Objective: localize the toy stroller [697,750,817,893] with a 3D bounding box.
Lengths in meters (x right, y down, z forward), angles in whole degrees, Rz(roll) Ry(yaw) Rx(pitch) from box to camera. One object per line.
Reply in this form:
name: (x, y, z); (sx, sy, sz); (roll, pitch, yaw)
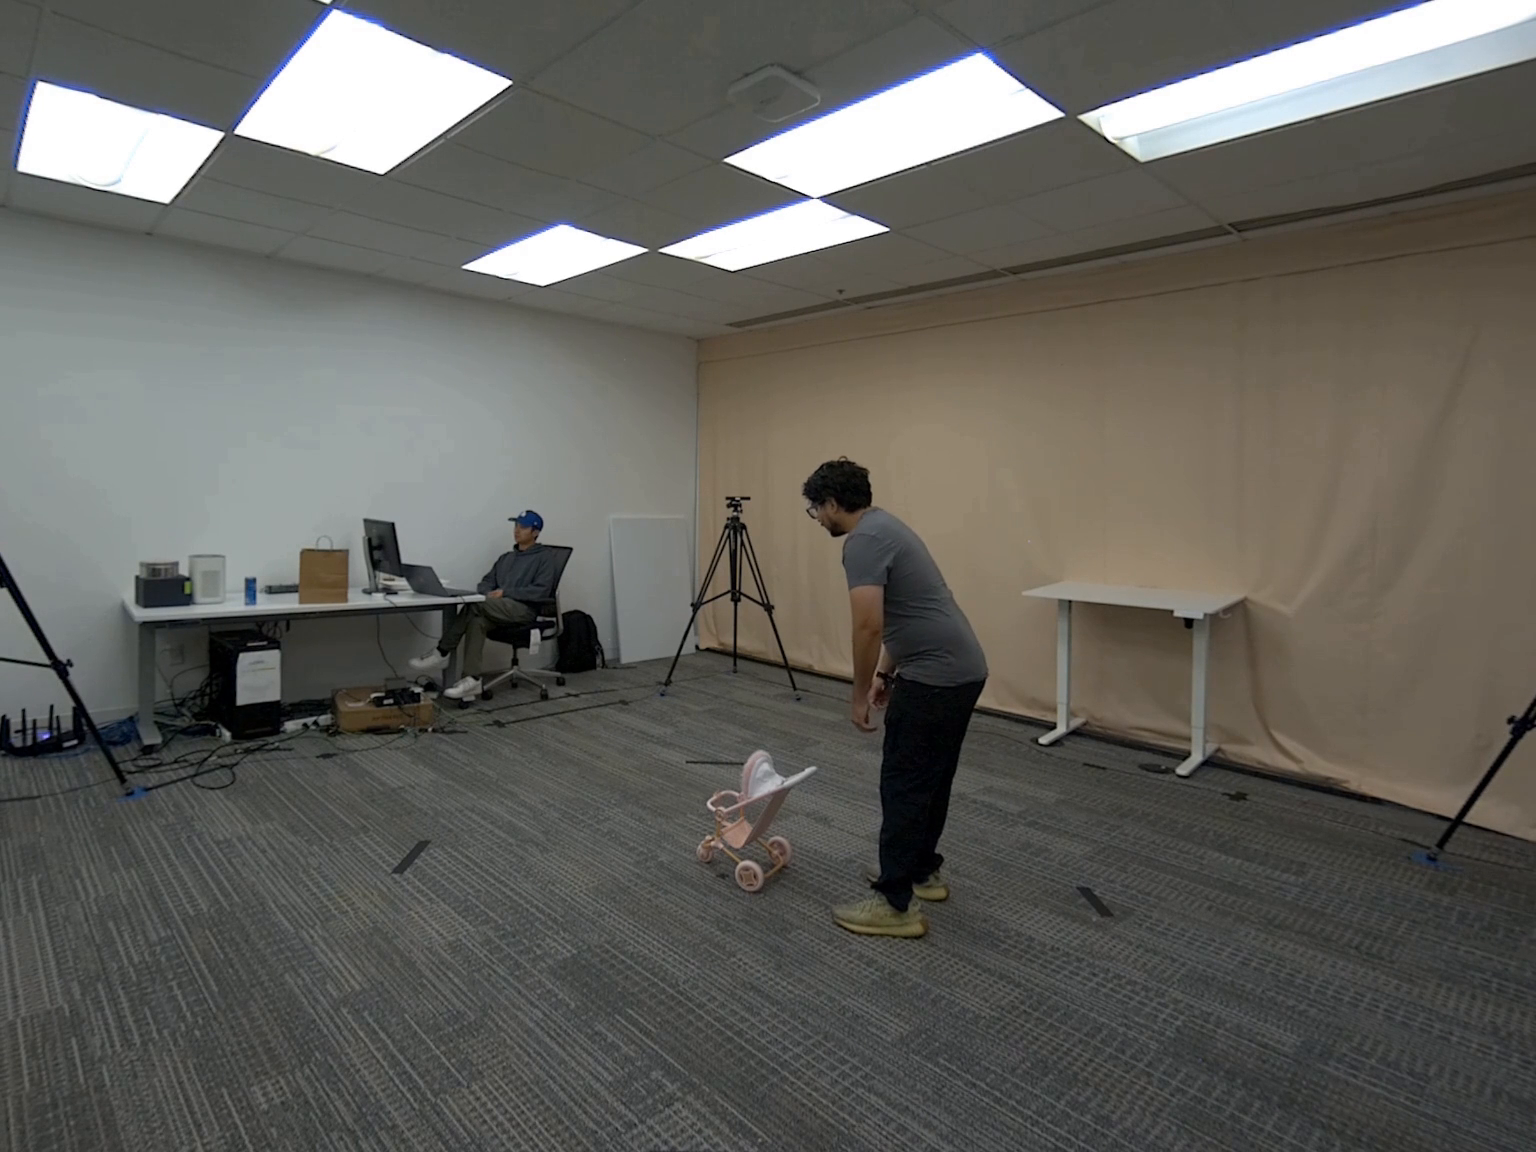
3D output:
toy stroller: (-0.068, 0.885, 3.118); (0.350, 0.532, 0.276); (23, 14, 30)
